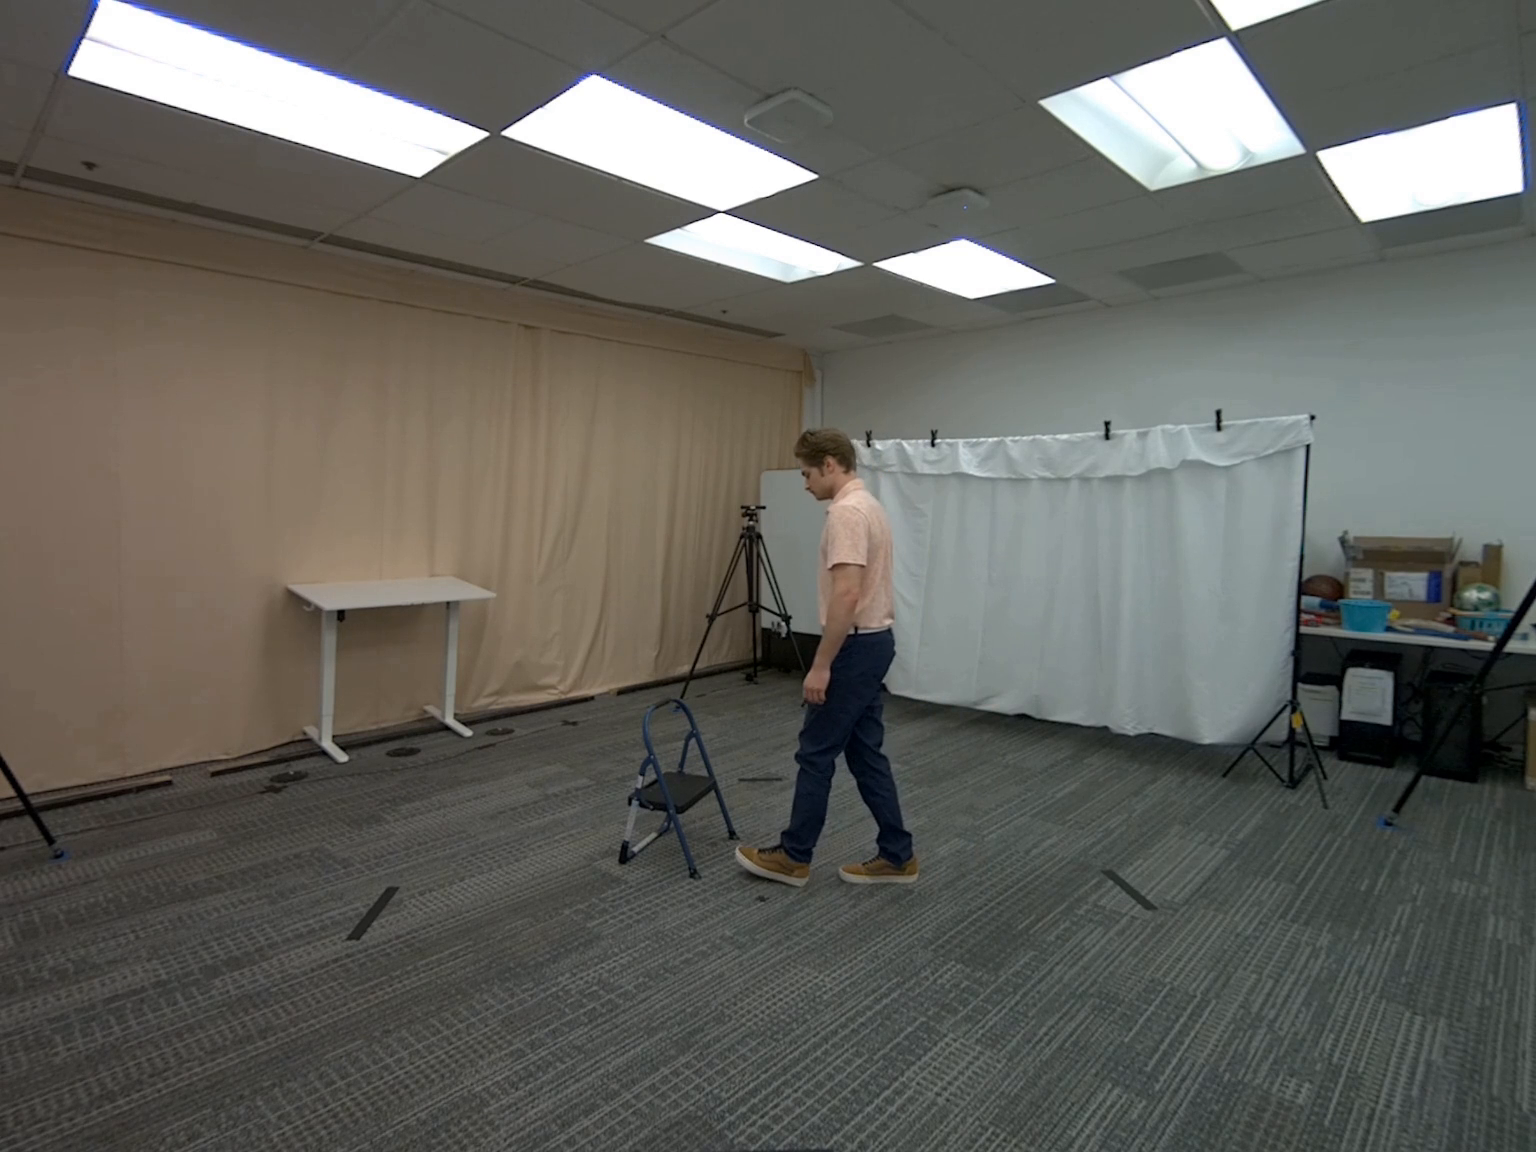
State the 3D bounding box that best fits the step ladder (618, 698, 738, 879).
[{"bbox_3d":[-0.360,0.811,3.393,0.357,0.605,0.422,1,3,21],"label":"step ladder"}]
